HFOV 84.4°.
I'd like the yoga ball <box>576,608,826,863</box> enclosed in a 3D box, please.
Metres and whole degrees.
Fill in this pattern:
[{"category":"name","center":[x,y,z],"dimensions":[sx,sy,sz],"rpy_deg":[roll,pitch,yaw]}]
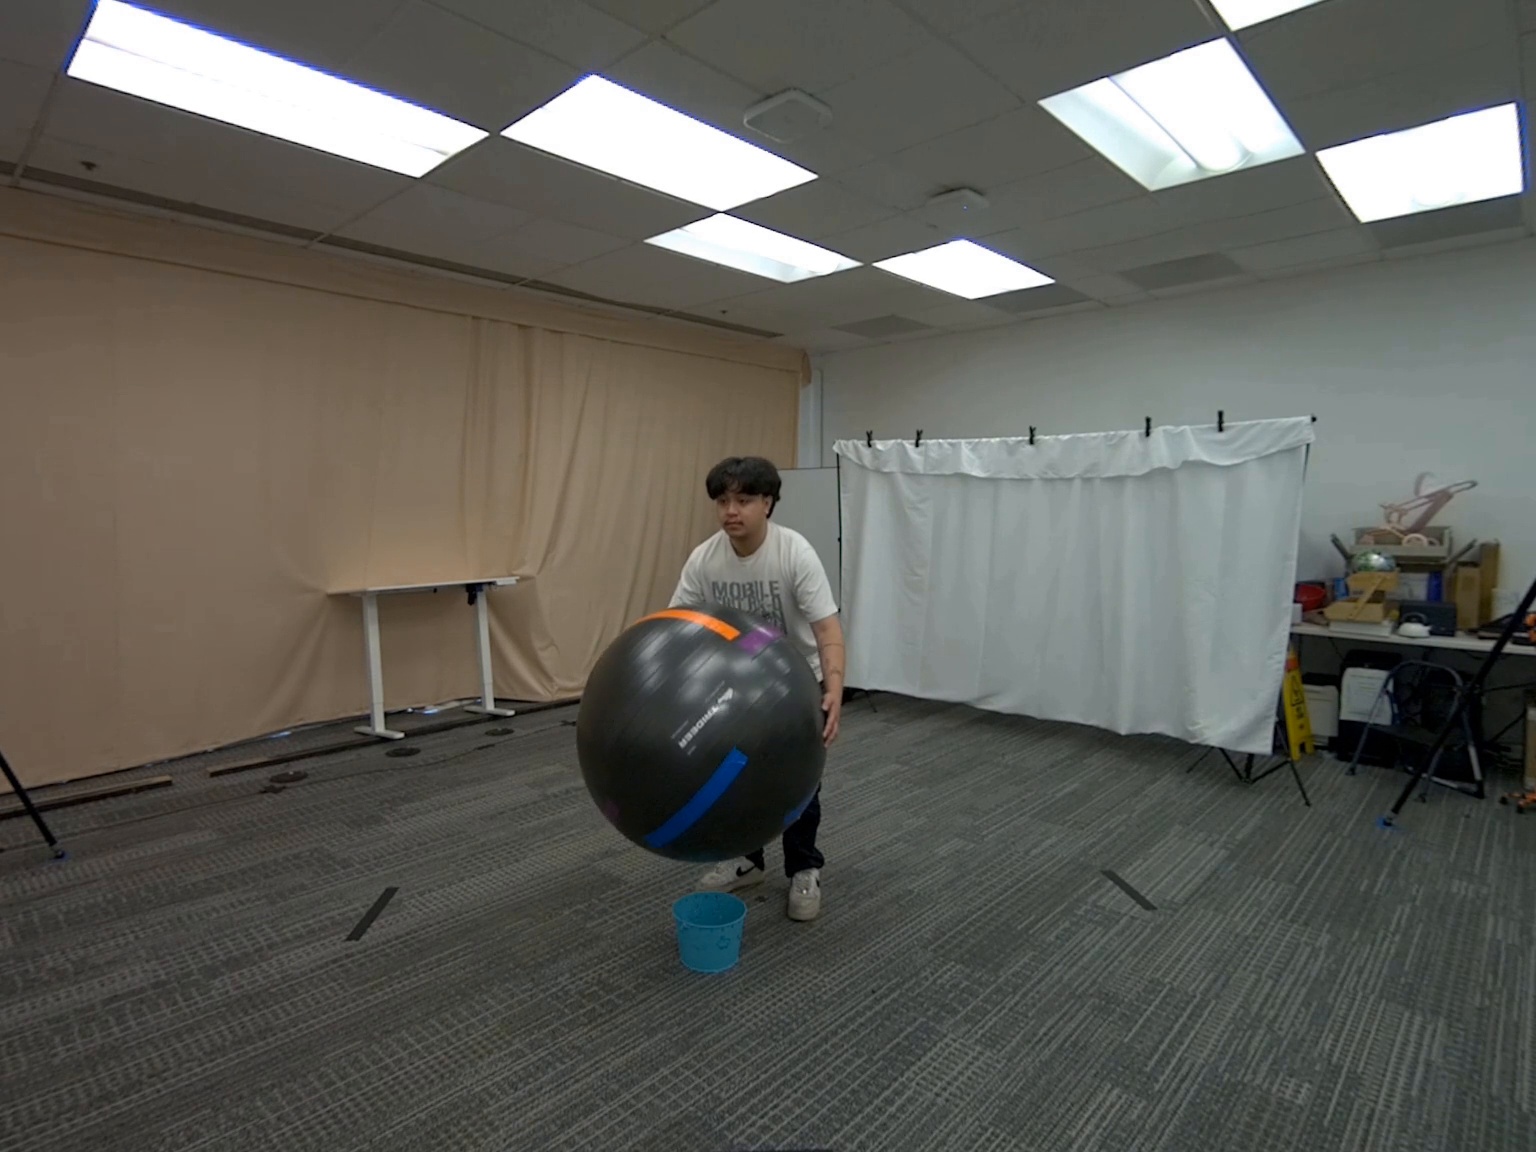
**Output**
[{"category":"yoga ball","center":[-0.206,0.467,2.539],"dimensions":[0.757,0.756,0.760],"rpy_deg":[0,4,-2]}]
